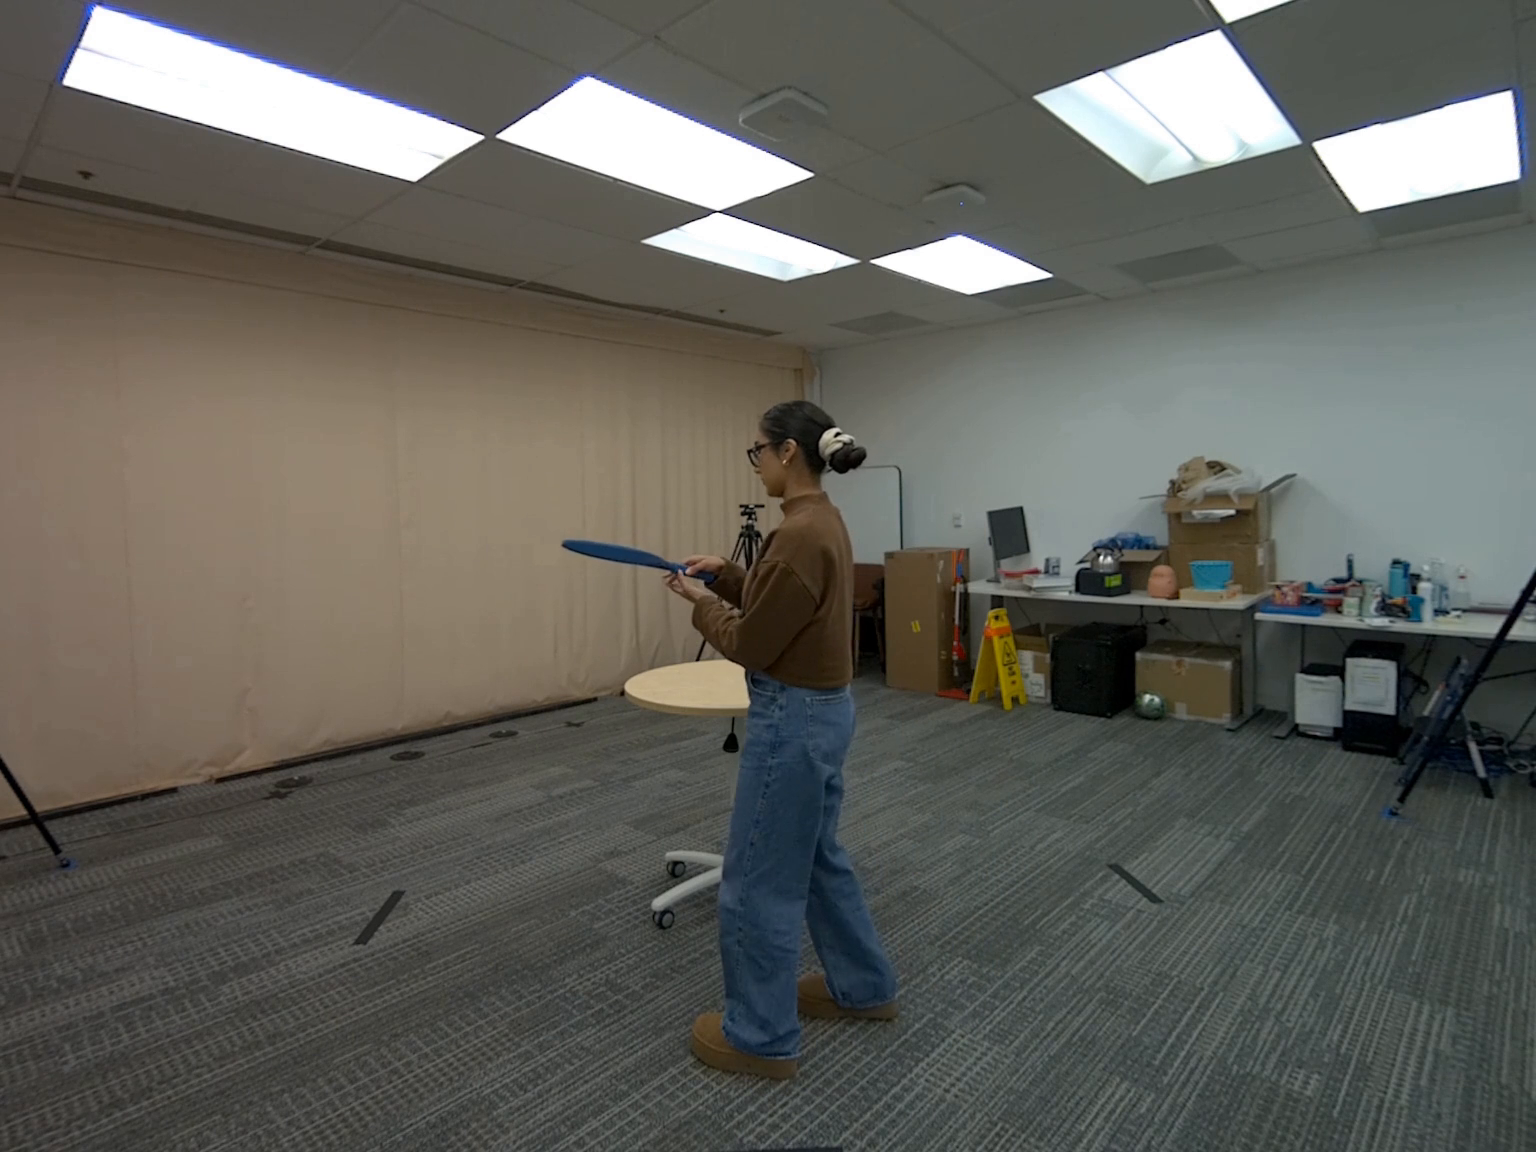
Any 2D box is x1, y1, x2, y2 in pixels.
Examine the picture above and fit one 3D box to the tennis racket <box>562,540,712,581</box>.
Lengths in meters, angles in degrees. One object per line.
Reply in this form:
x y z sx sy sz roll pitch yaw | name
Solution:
-0.300 -0.036 2.130 0.421 0.032 0.219 14 -13 -27 | tennis racket
